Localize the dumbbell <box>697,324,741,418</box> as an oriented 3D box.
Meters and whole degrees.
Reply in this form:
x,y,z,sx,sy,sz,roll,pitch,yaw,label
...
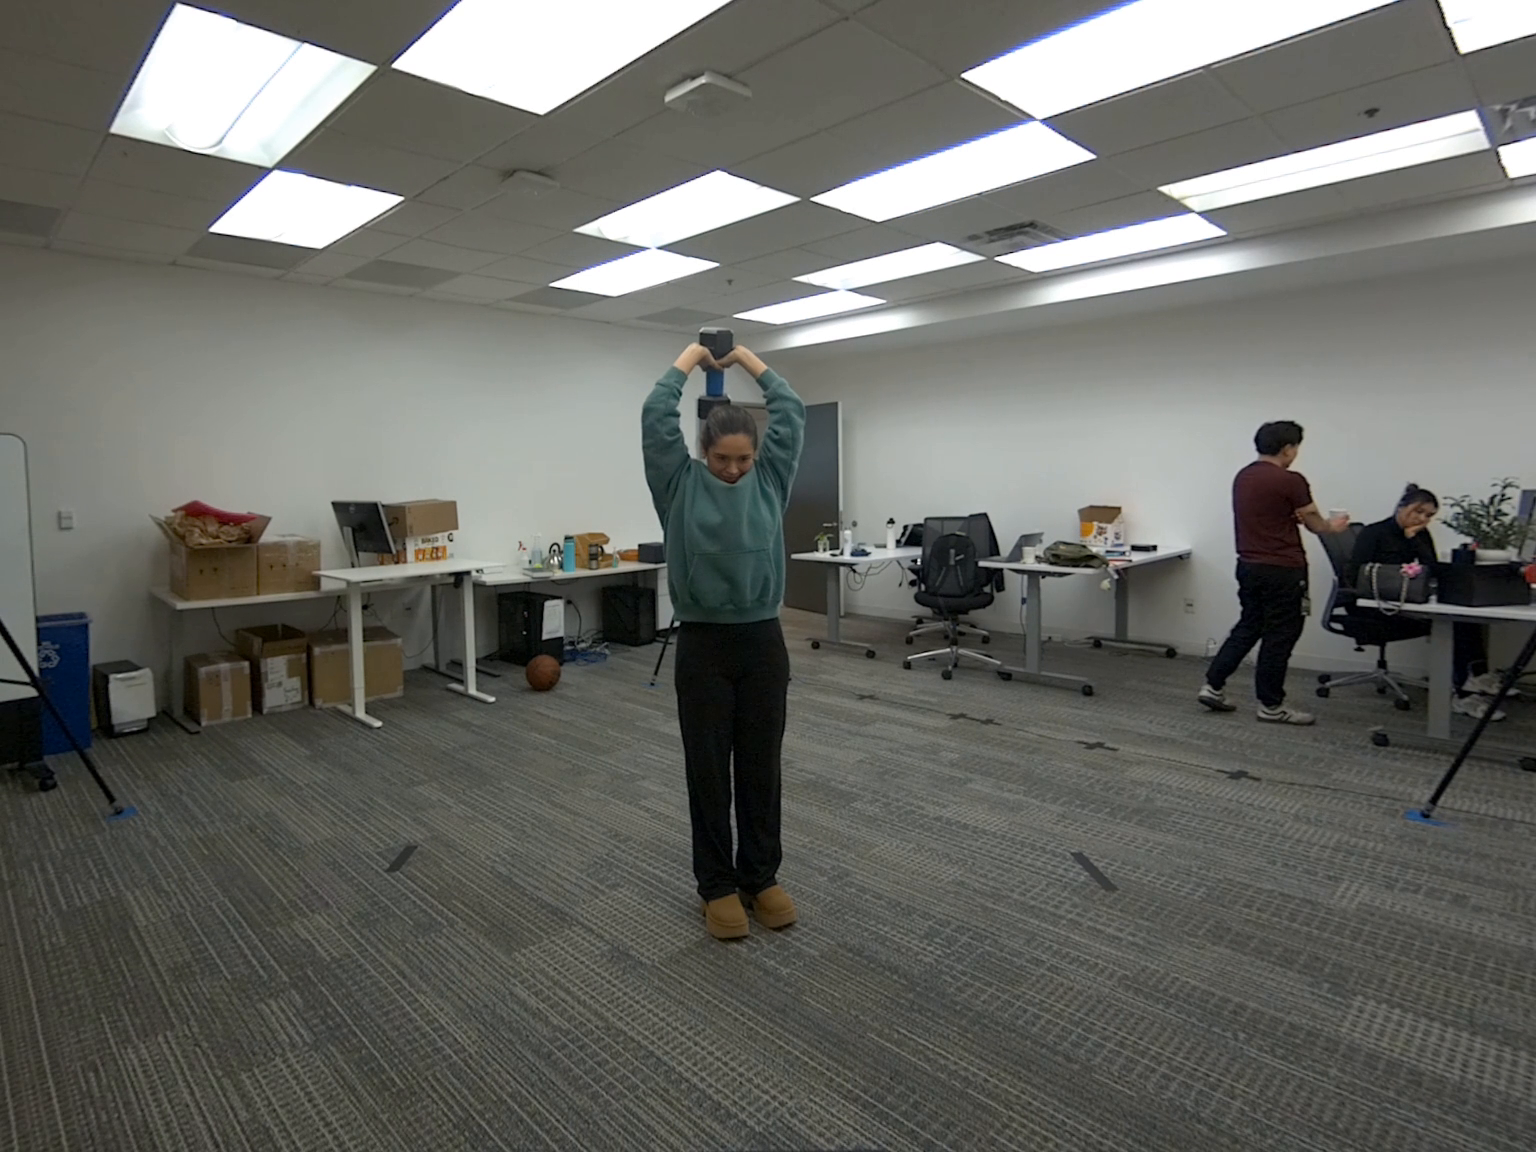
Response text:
x,y,z,sx,sy,sz,roll,pitch,yaw,label
-0.164,-0.657,2.776,0.108,0.288,0.126,1,22,-9,dumbbell
